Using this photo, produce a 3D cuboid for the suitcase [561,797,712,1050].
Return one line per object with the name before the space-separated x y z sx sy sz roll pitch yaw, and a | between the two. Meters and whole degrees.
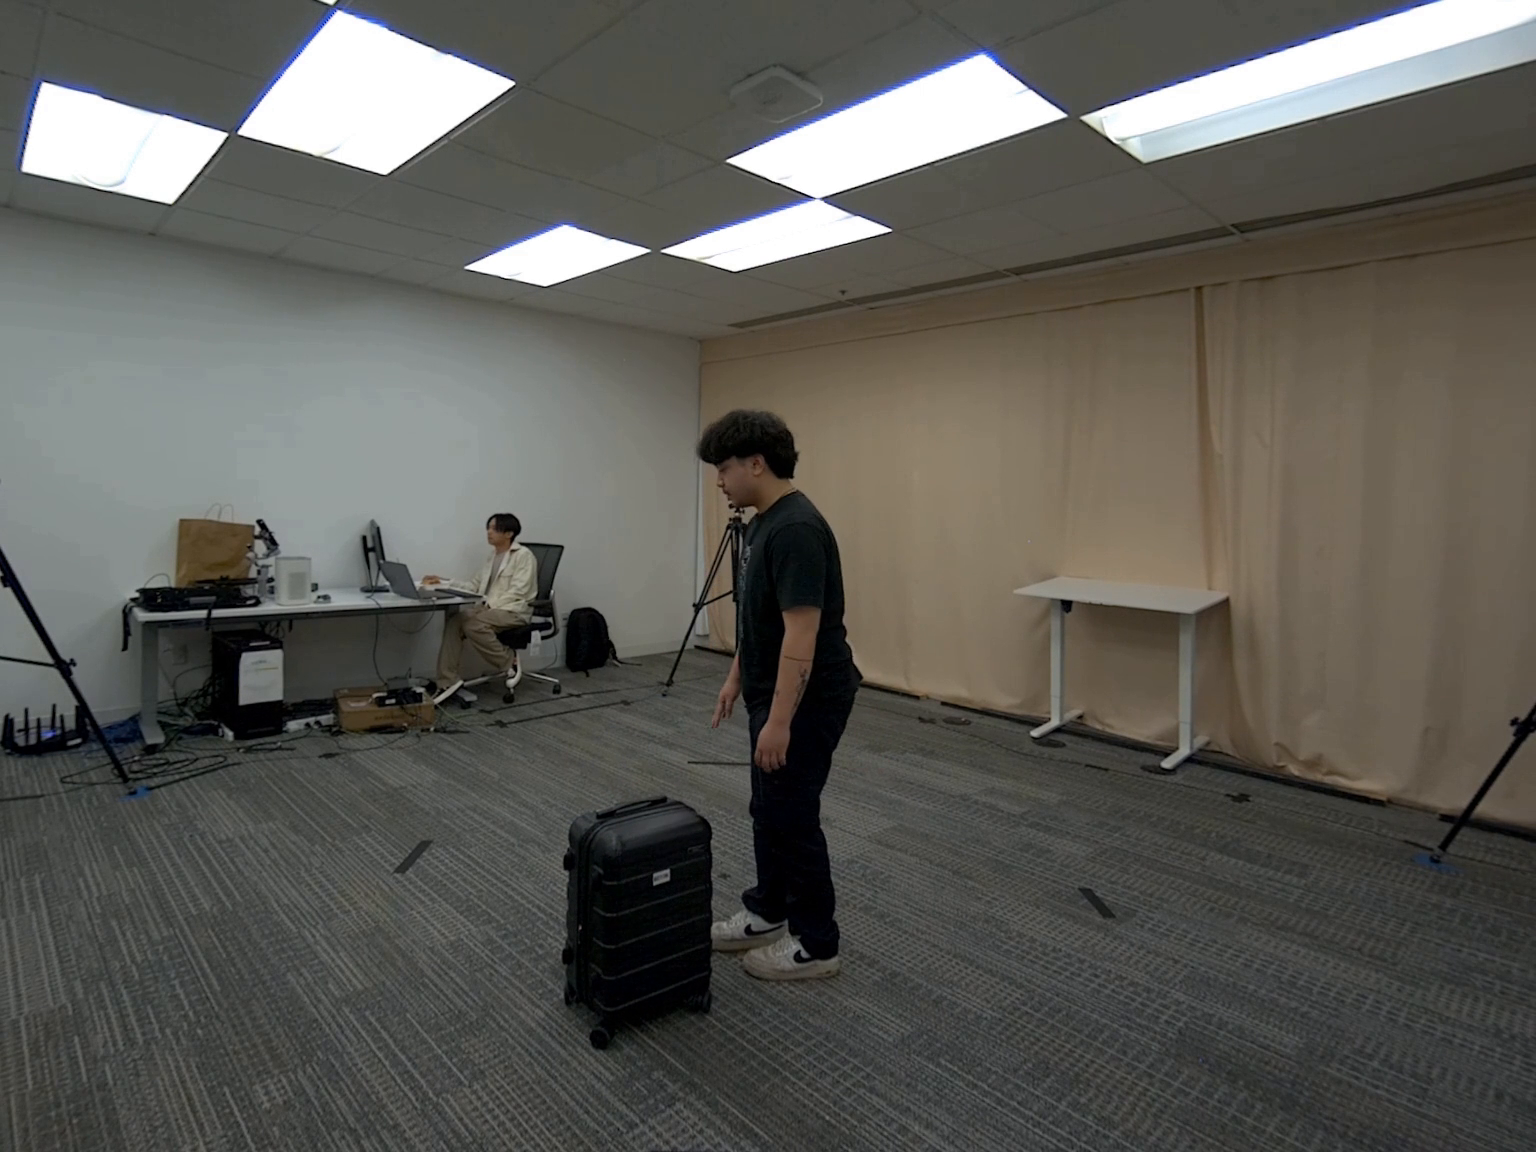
suitcase | -0.349 0.906 2.274 0.367 0.548 0.254 -1 4 -37
